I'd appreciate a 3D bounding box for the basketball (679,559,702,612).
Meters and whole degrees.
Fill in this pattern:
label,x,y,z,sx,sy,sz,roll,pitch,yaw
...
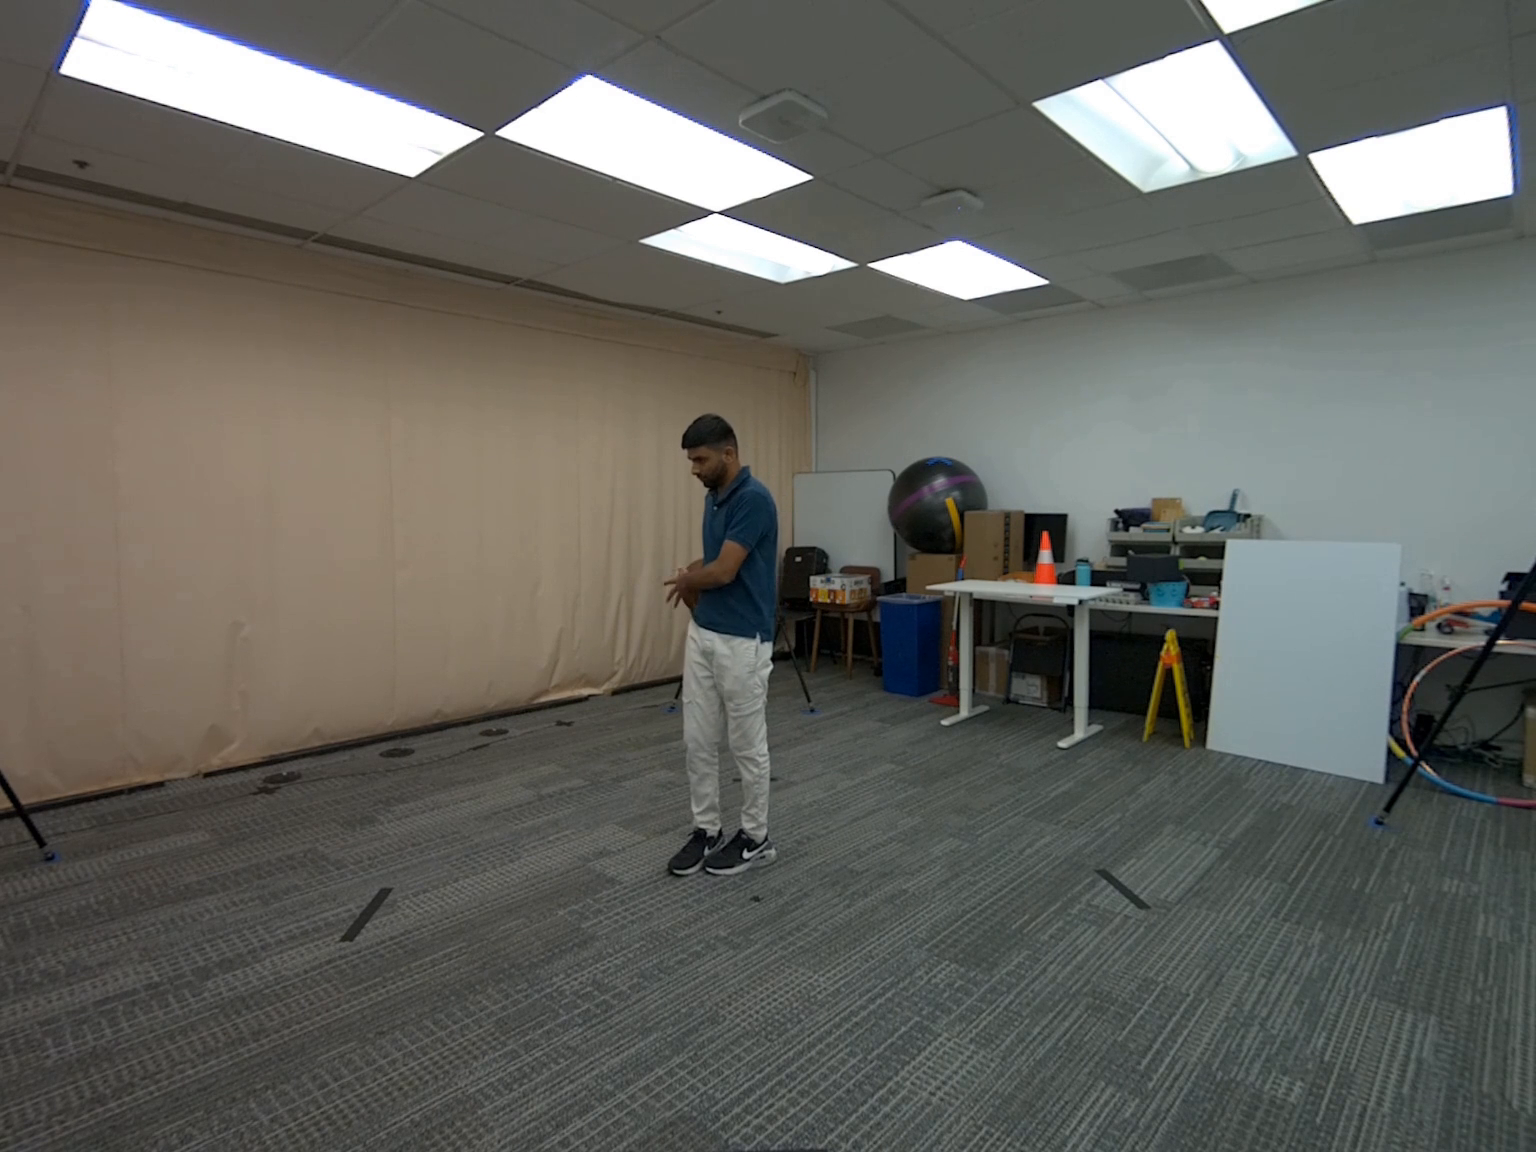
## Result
label,x,y,z,sx,sy,sz,roll,pitch,yaw
basketball,-0.270,0.038,3.448,0.236,0.235,0.237,0,4,-2
